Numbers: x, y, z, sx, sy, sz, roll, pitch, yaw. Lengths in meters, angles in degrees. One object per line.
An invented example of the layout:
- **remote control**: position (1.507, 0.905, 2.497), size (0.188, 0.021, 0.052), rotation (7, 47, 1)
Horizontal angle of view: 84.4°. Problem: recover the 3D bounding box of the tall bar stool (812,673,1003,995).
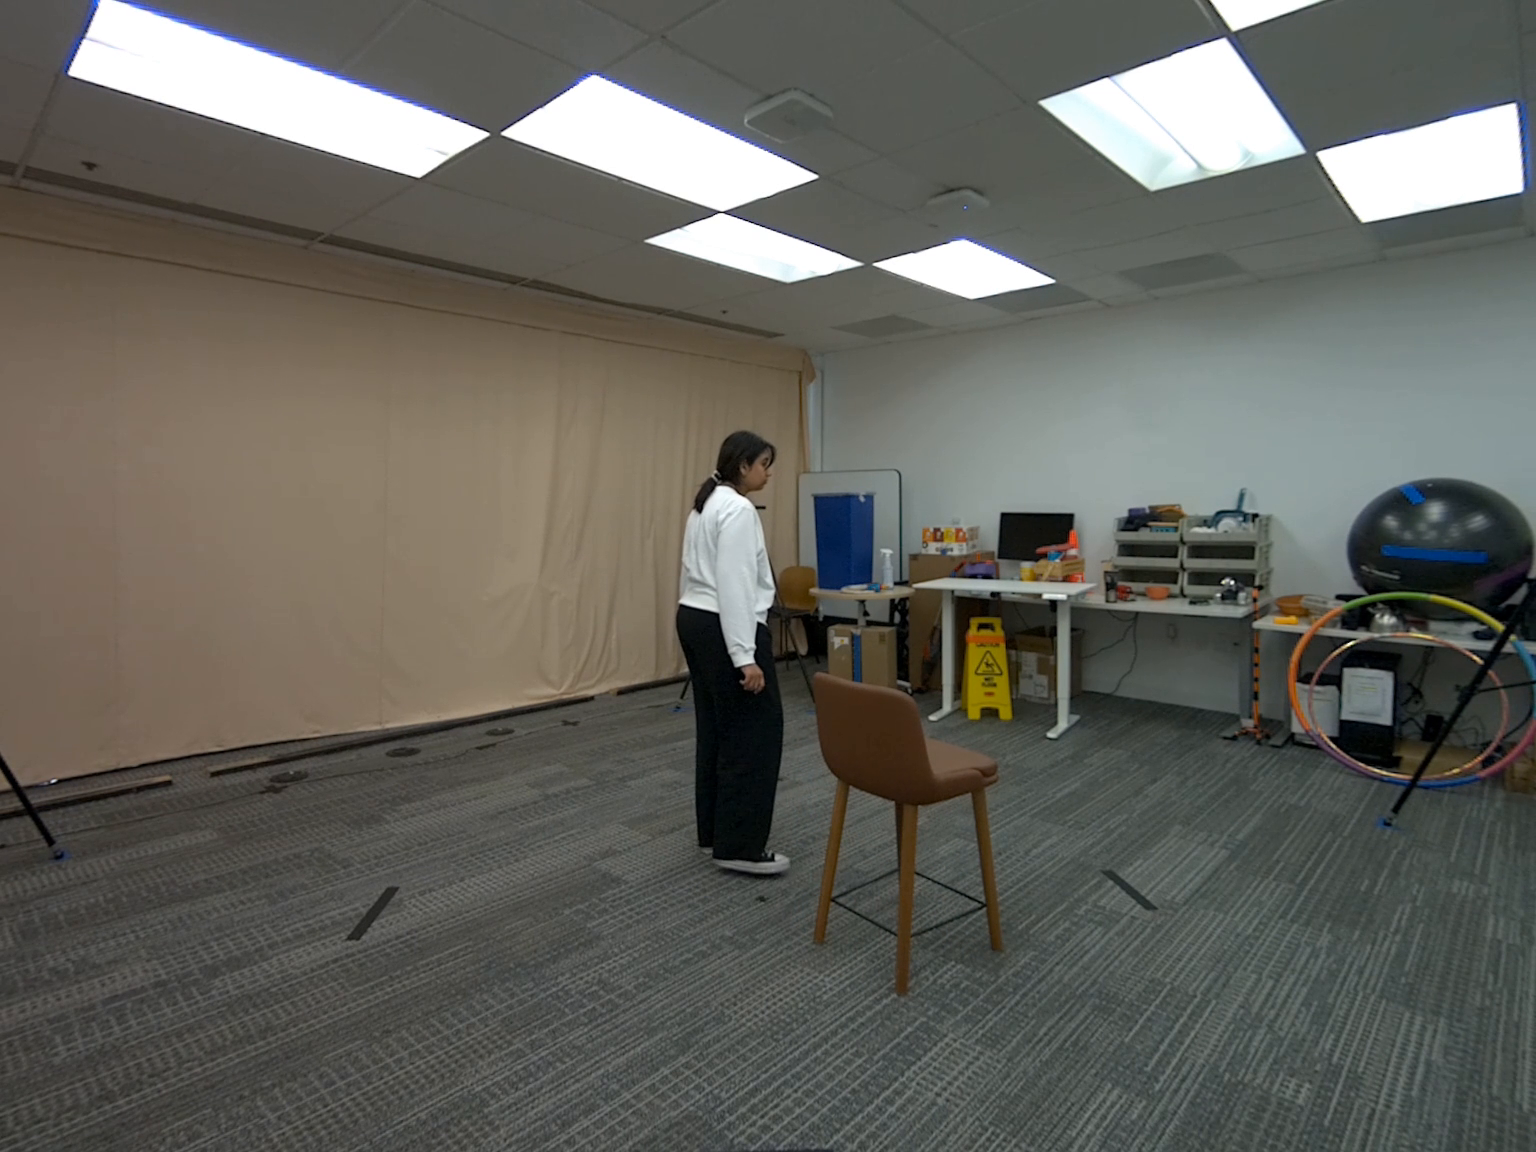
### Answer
- **tall bar stool**: position (0.440, 0.737, 2.640), size (0.454, 0.887, 0.471), rotation (-5, 6, -38)
